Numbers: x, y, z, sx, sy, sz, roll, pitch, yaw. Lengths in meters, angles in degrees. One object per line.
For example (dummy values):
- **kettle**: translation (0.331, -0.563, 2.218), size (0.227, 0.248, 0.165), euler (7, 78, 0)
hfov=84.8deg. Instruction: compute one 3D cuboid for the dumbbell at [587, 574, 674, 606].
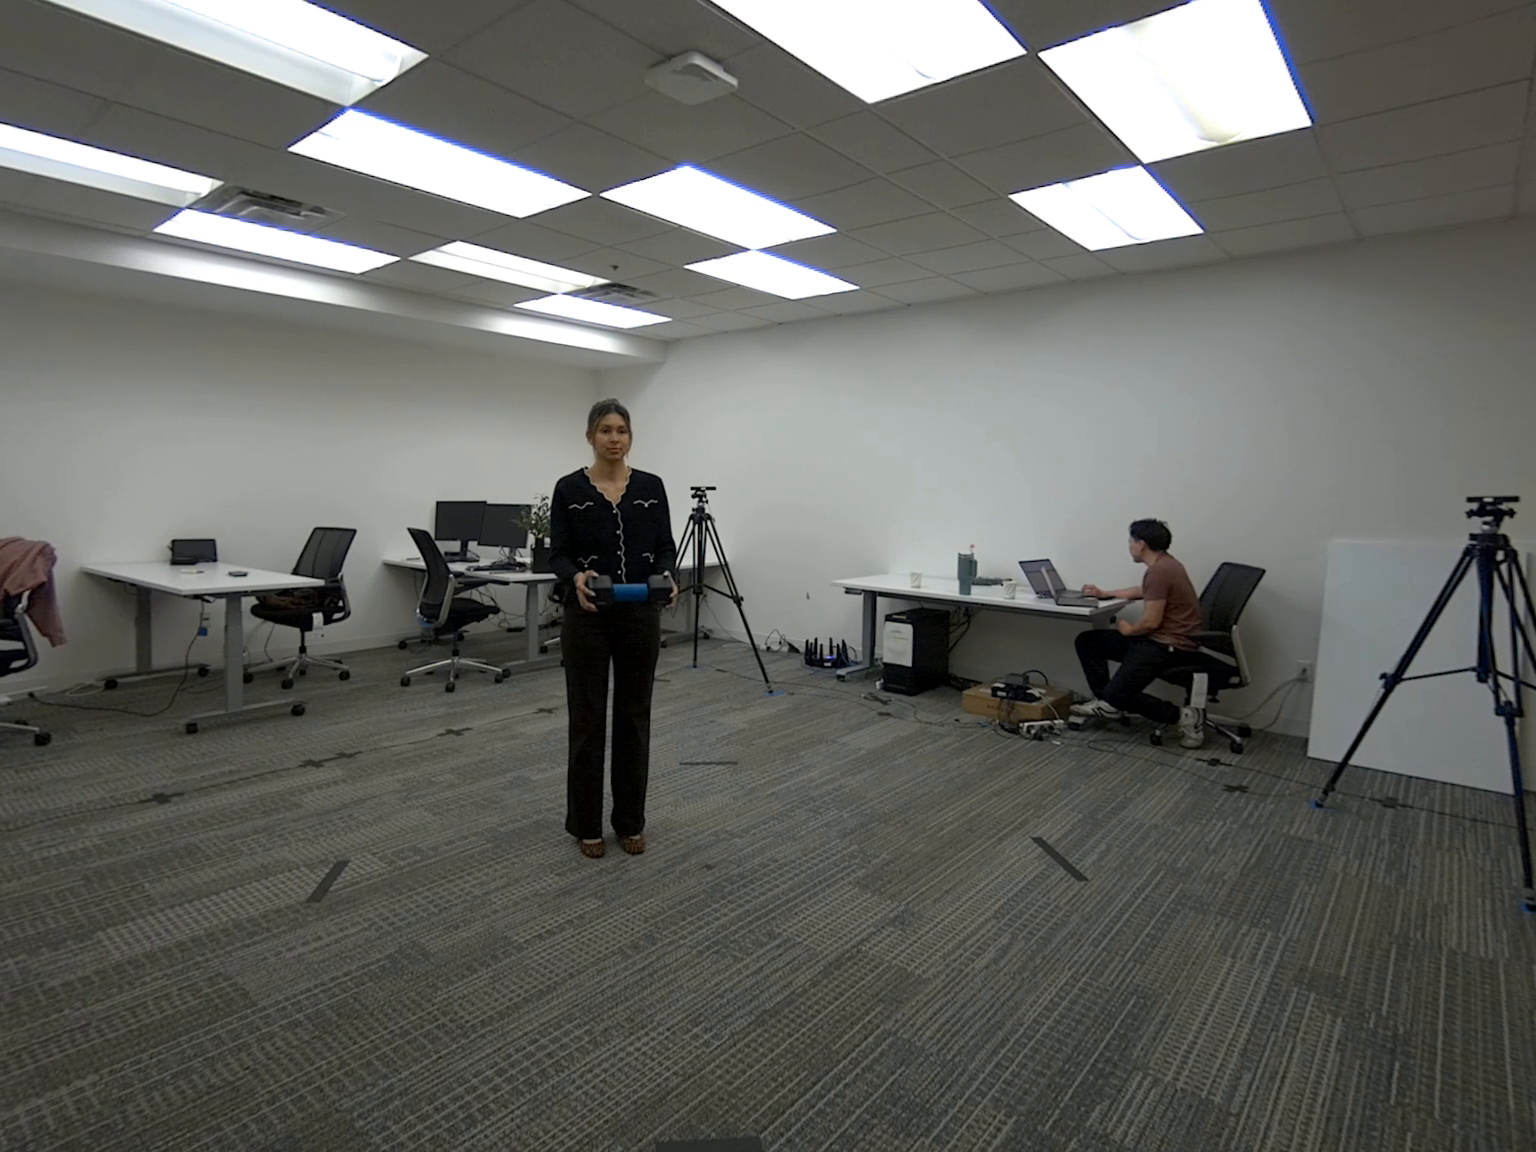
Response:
- **dumbbell**: translation (-0.508, 0.051, 2.964), size (0.287, 0.107, 0.127), euler (2, 45, -23)
